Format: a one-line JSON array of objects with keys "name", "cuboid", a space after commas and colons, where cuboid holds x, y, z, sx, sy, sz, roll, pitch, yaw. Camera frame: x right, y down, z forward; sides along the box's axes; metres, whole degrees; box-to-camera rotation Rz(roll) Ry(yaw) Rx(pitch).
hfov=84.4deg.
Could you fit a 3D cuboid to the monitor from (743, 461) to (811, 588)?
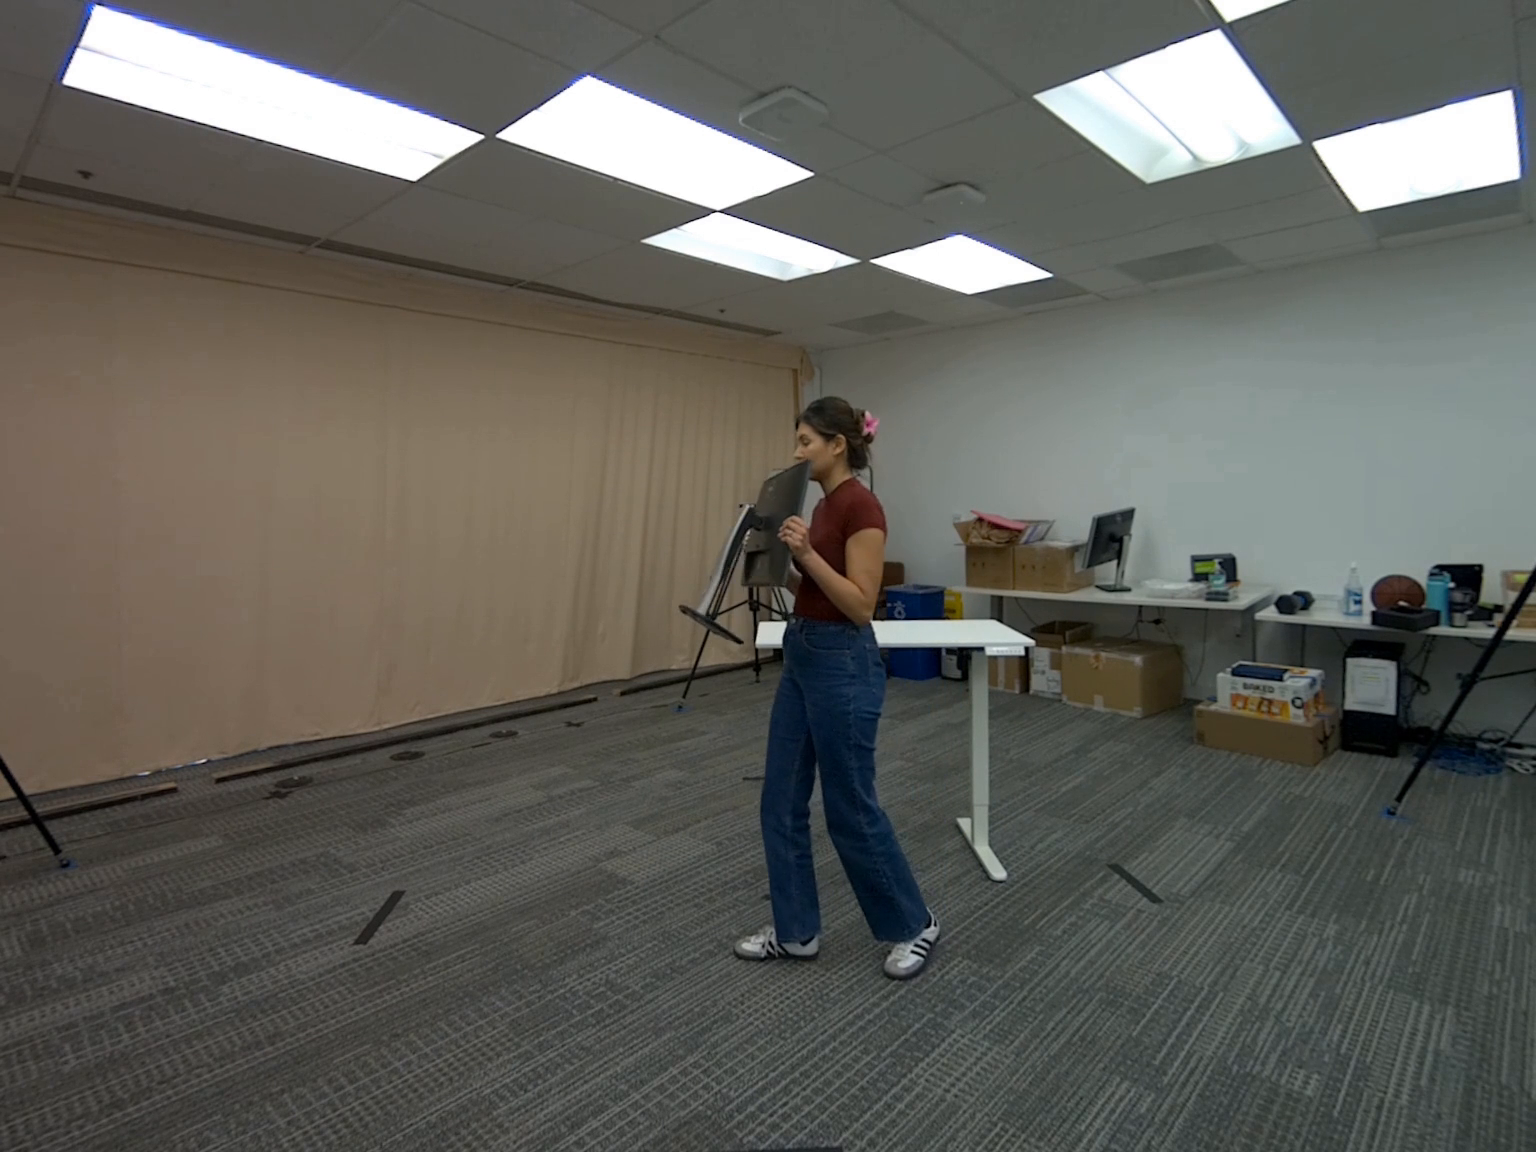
[{"name": "monitor", "cuboid": [-0.049, -0.073, 2.483, 0.184, 0.523, 0.546, 29, -7, -13]}]
